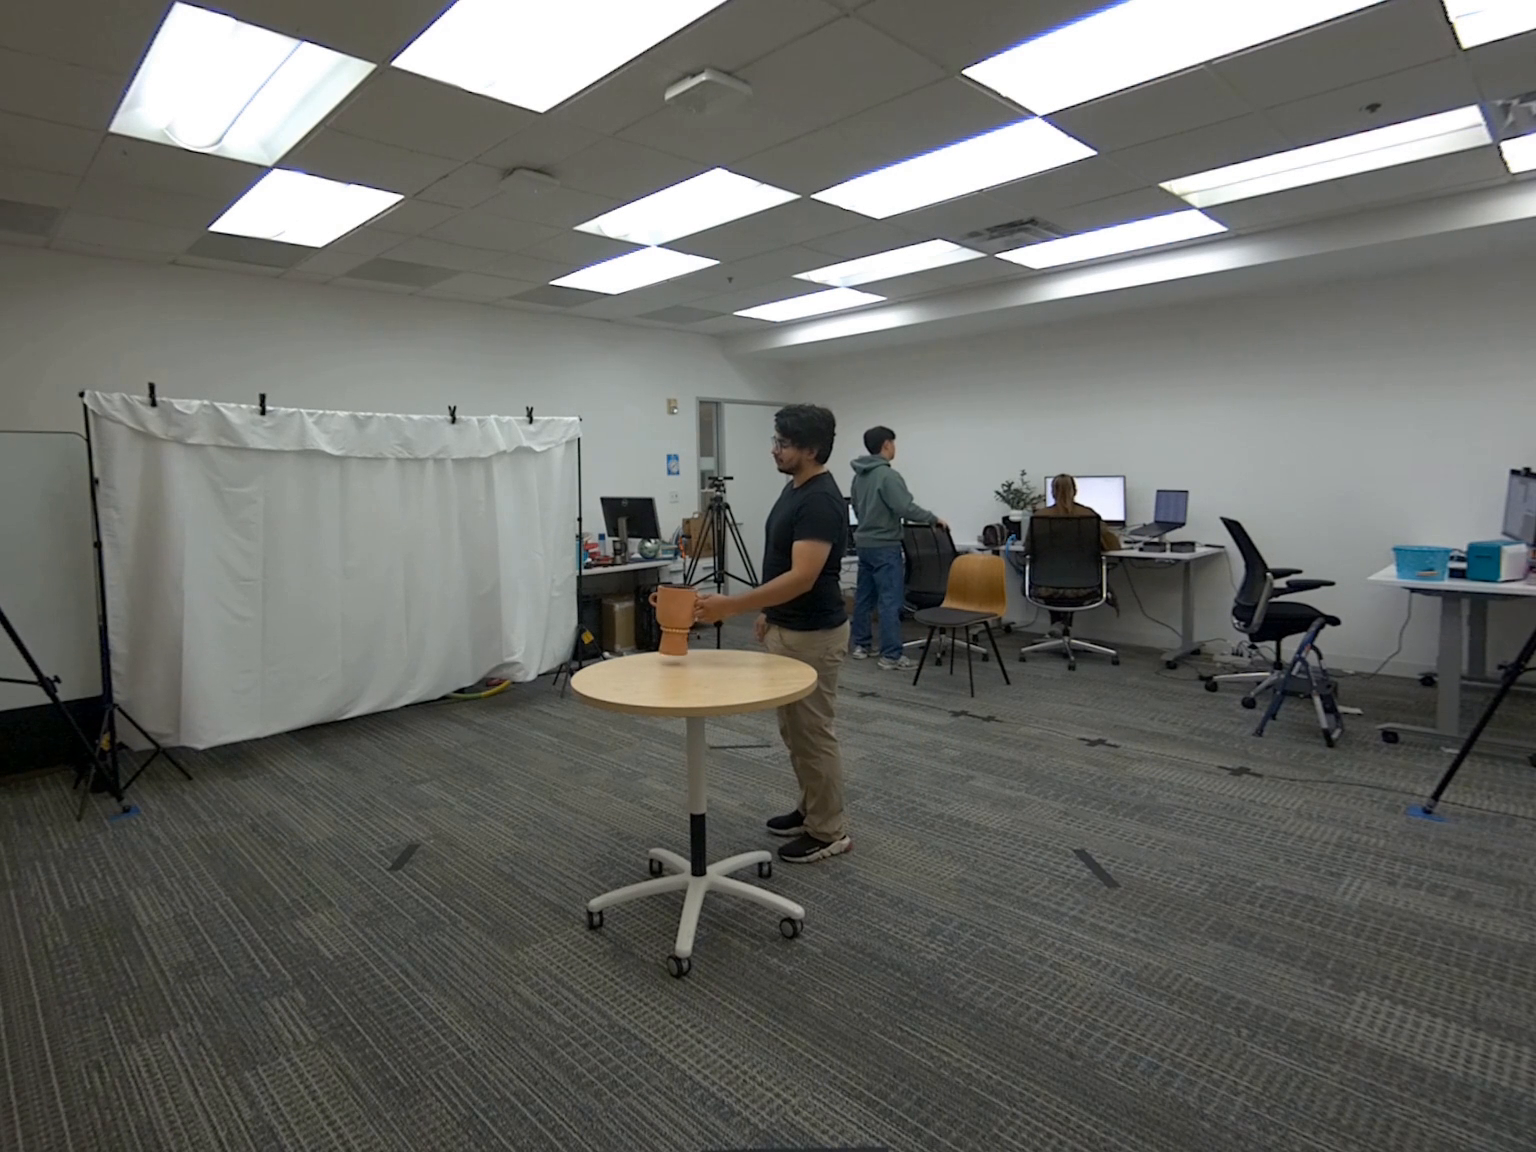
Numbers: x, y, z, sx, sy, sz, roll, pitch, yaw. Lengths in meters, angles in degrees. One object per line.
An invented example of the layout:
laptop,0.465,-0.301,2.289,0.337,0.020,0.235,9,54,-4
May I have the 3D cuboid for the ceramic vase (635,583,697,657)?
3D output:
ceramic vase,-0.305,0.148,2.832,0.131,0.220,0.163,3,1,-36
